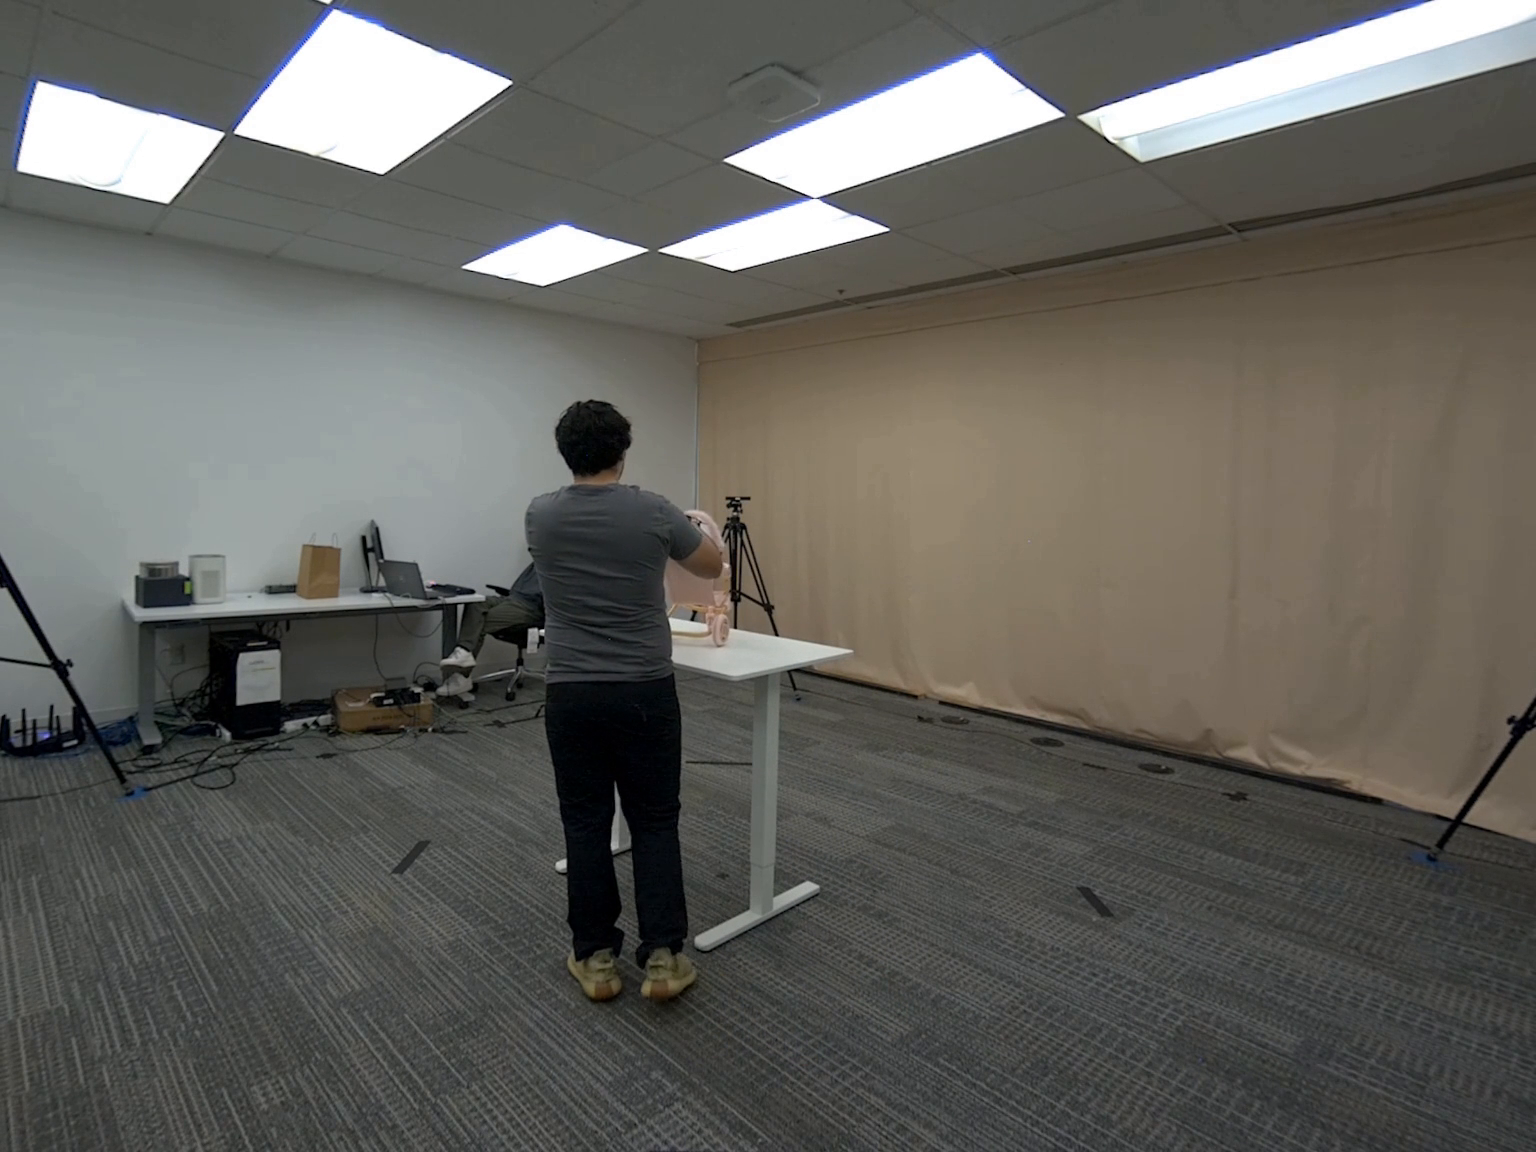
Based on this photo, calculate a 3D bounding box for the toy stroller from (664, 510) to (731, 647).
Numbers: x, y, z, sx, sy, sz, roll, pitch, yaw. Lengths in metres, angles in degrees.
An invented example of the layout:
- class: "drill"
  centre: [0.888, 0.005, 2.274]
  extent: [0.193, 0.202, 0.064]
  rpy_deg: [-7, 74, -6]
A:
- class: "toy stroller"
  centre: [-0.263, 0.011, 2.985]
  extent: [0.286, 0.528, 0.340]
  rpy_deg: [3, 17, 21]
